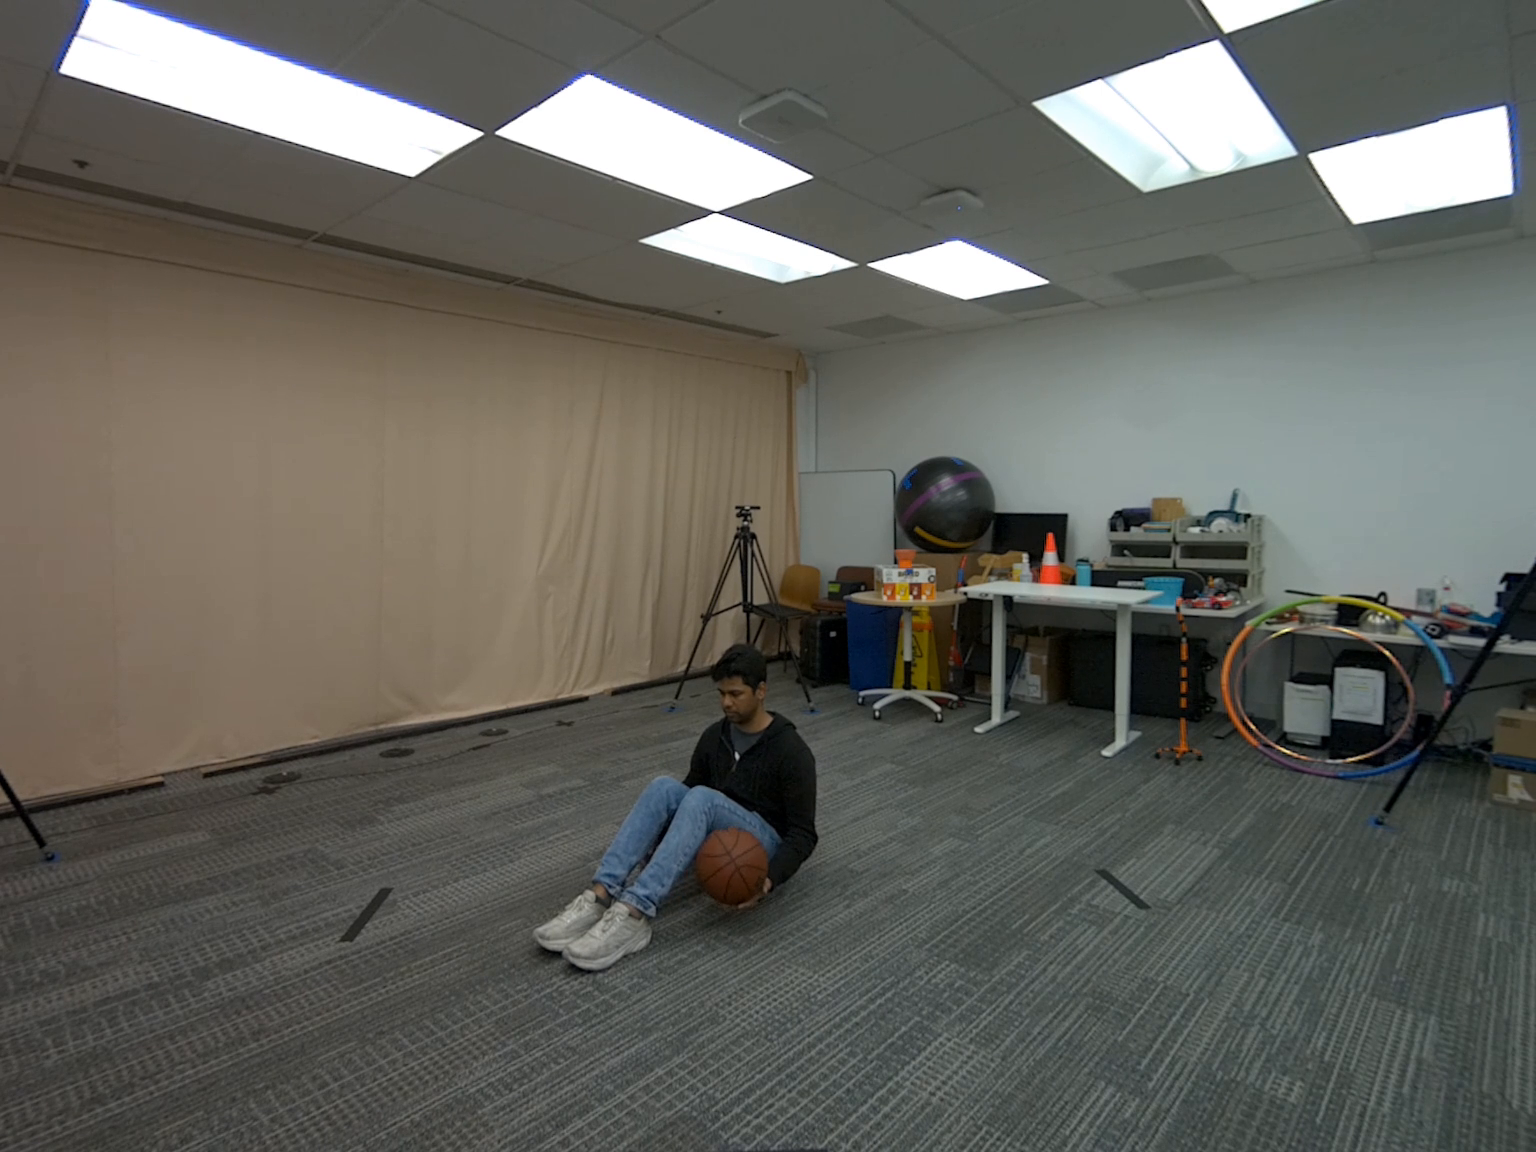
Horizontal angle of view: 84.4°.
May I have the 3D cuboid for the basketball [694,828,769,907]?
[{"bbox_3d":[-0.132,0.937,2.748,0.236,0.235,0.237,0,4,-2],"label":"basketball"}]
